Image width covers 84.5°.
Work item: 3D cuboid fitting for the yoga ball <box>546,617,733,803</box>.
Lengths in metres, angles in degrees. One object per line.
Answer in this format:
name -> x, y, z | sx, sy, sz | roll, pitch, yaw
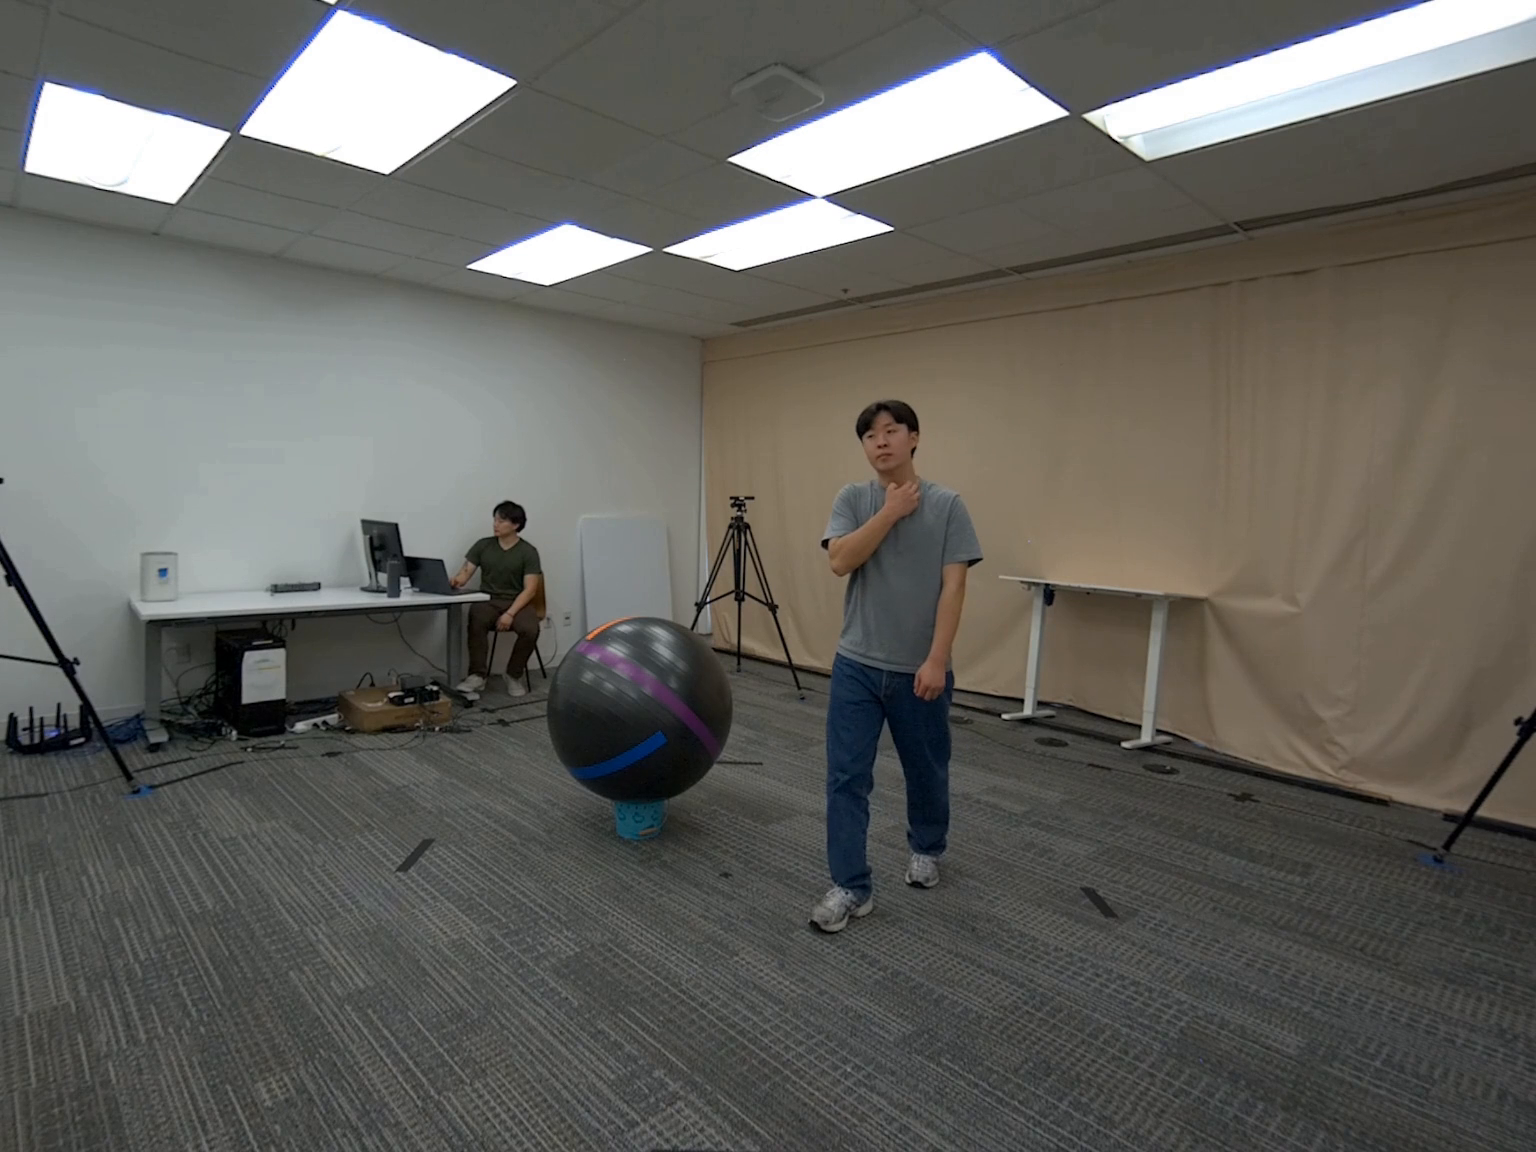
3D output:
yoga ball -> -0.537, 0.550, 3.494 | 0.757, 0.756, 0.761 | 1, 4, -1
